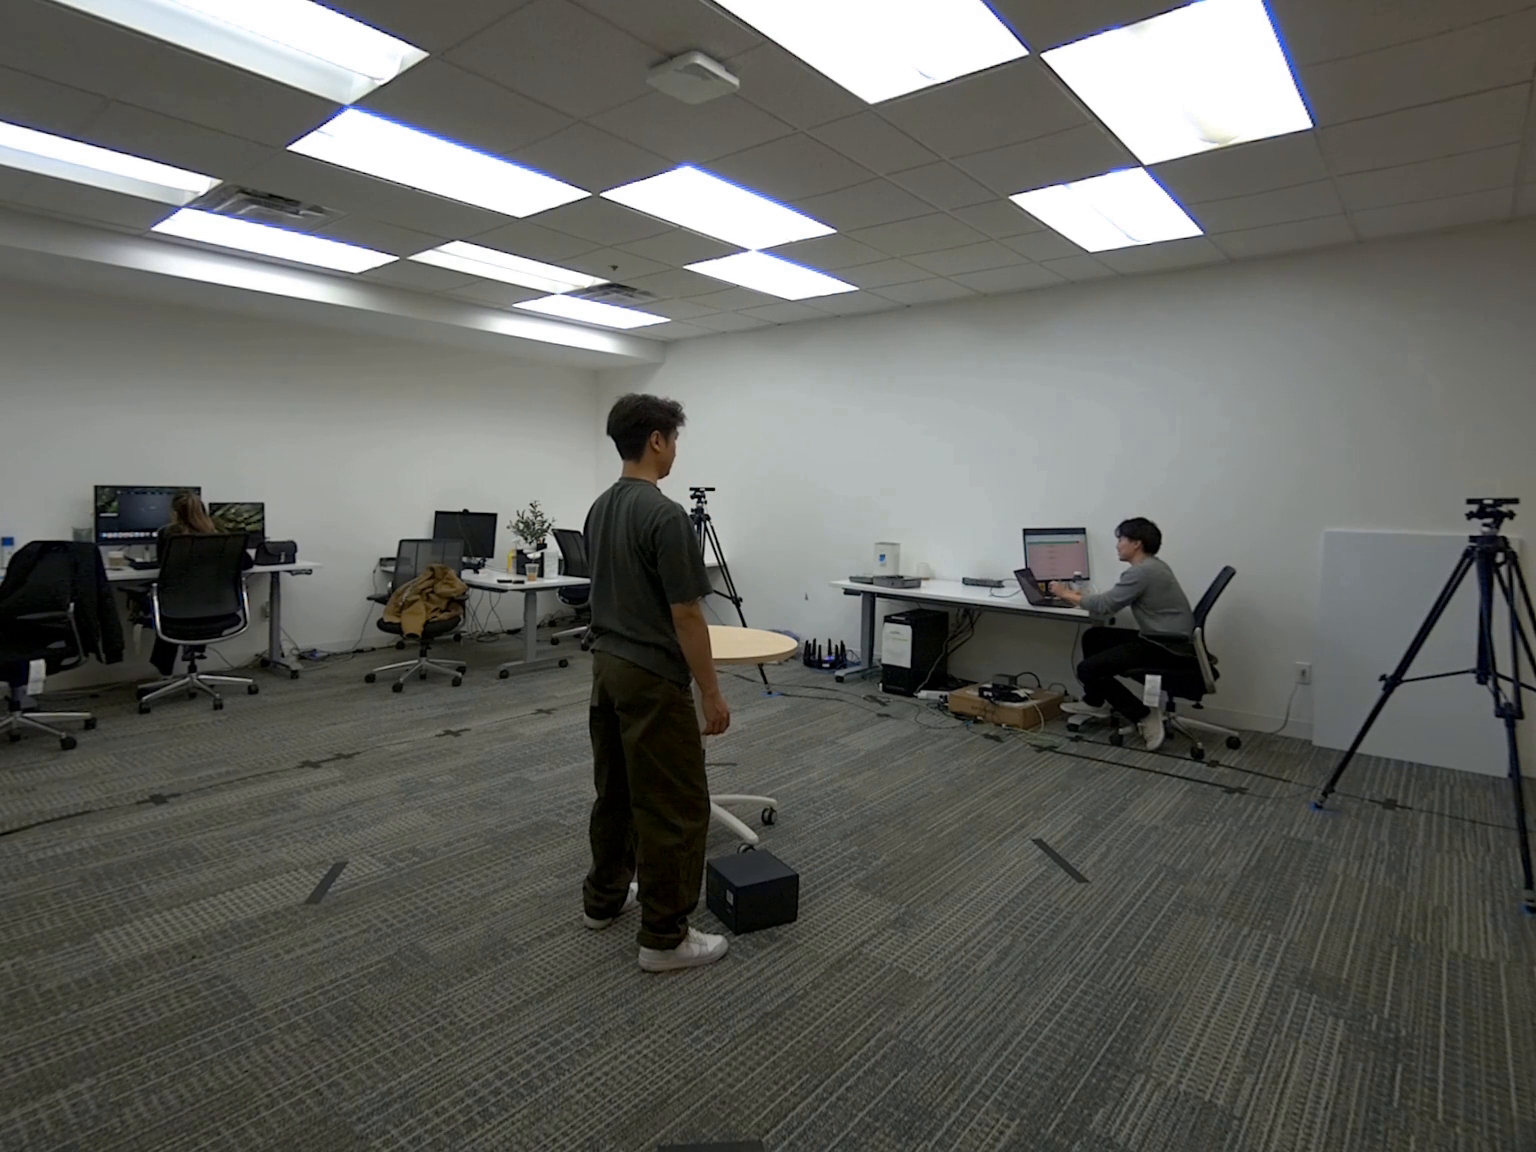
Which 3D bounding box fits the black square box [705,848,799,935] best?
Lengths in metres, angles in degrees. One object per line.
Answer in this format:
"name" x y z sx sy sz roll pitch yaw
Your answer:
"black square box" -0.062 1.019 2.777 0.222 0.155 0.223 -1 5 -30
